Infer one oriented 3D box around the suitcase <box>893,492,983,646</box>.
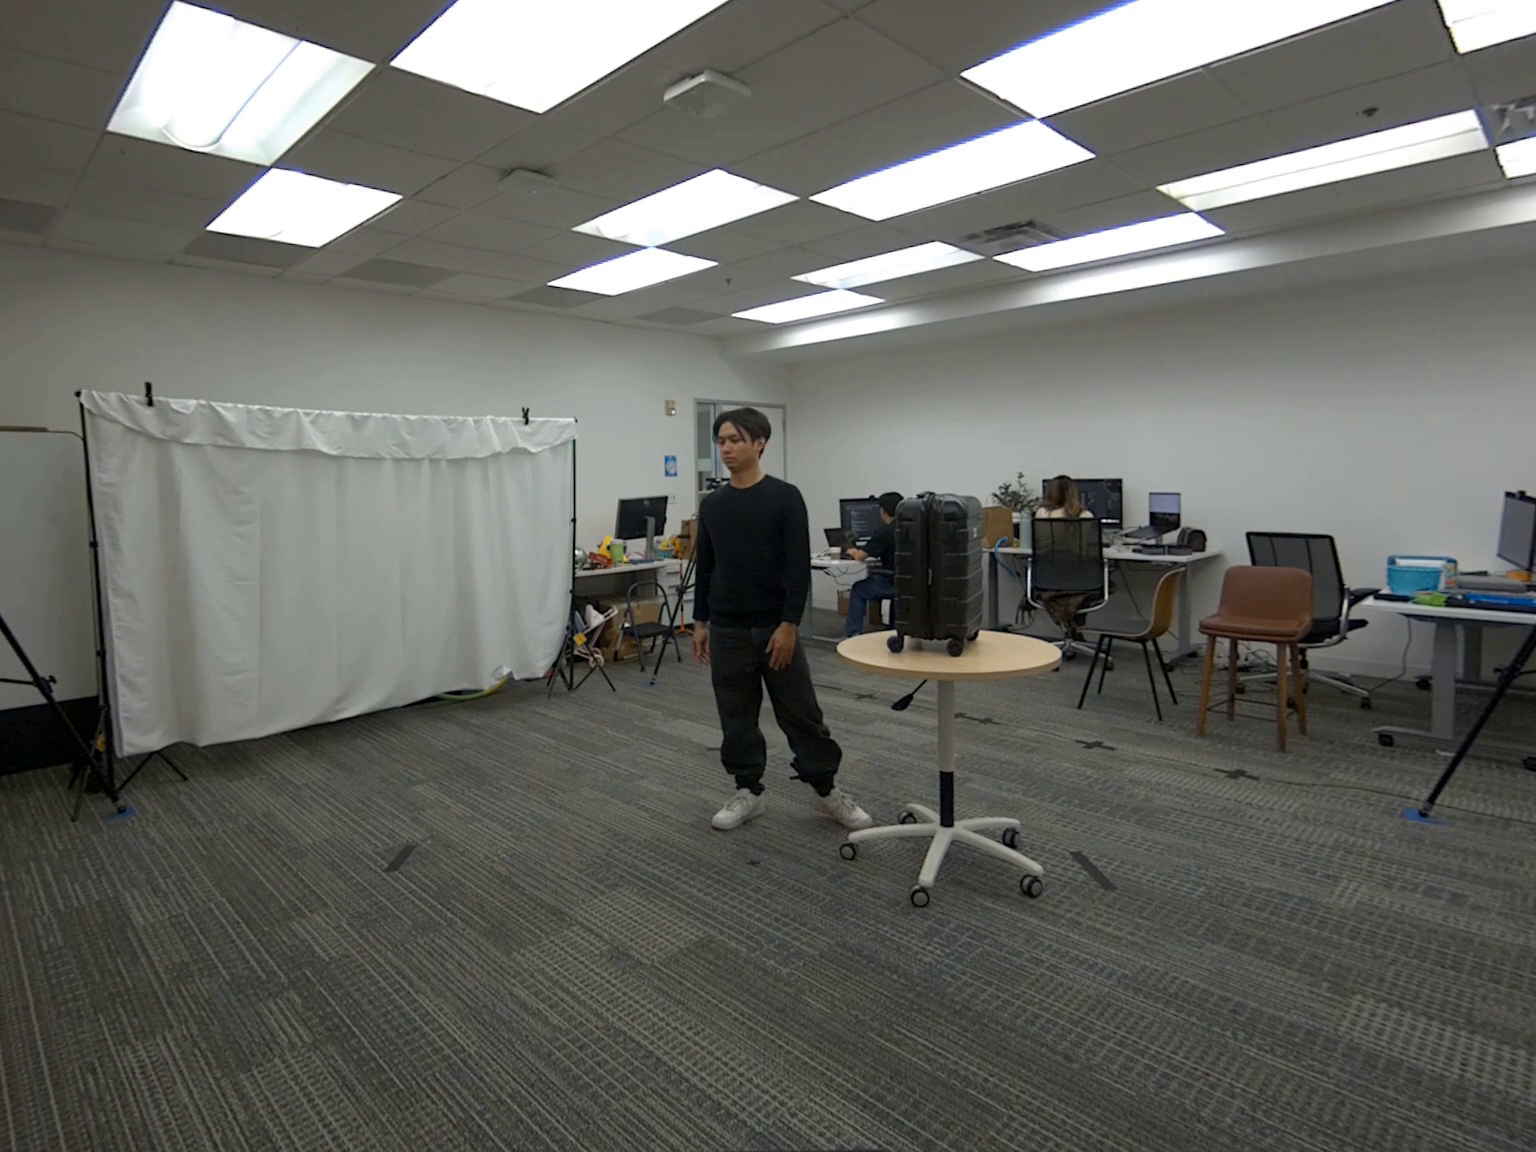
[{"bbox_3d":[0.615,-0.025,3.051,0.254,0.547,0.368,2,4,24],"label":"suitcase"}]
